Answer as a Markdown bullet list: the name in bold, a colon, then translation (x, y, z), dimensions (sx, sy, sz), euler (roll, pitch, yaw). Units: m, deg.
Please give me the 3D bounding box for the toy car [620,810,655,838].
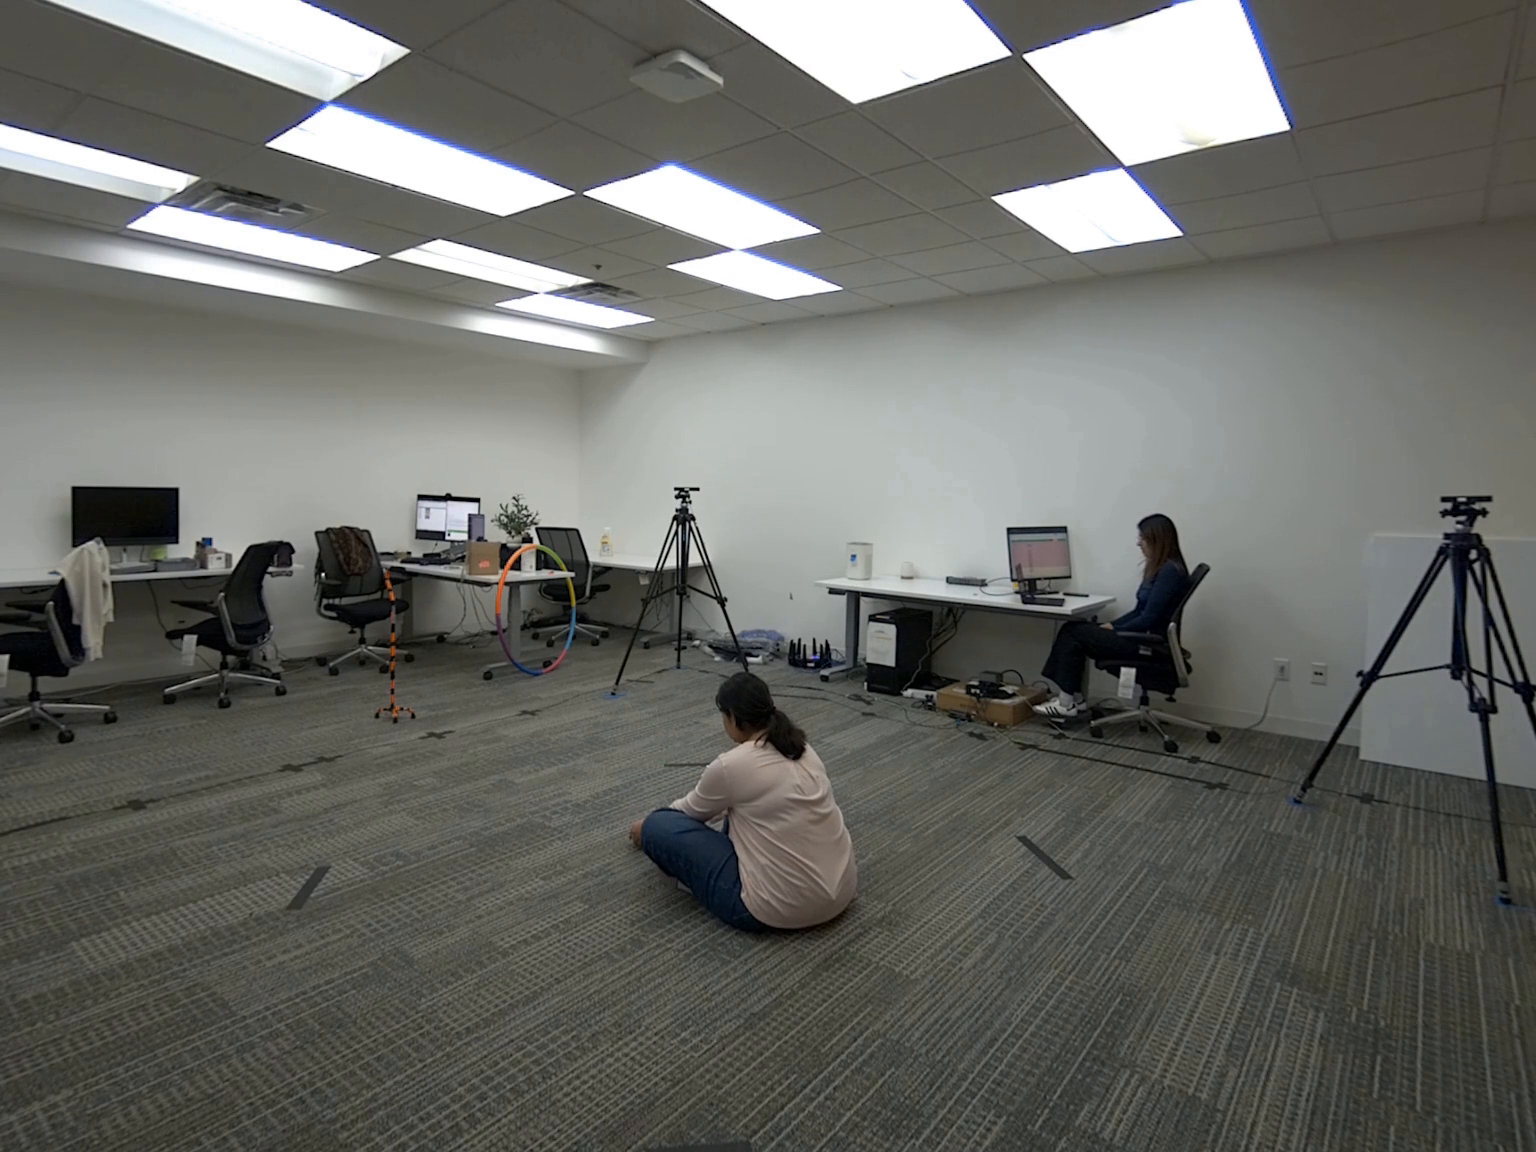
- **toy car**: translation (-0.444, 0.995, 3.360), dimensions (0.245, 0.083, 0.135), euler (13, -5, -44)
